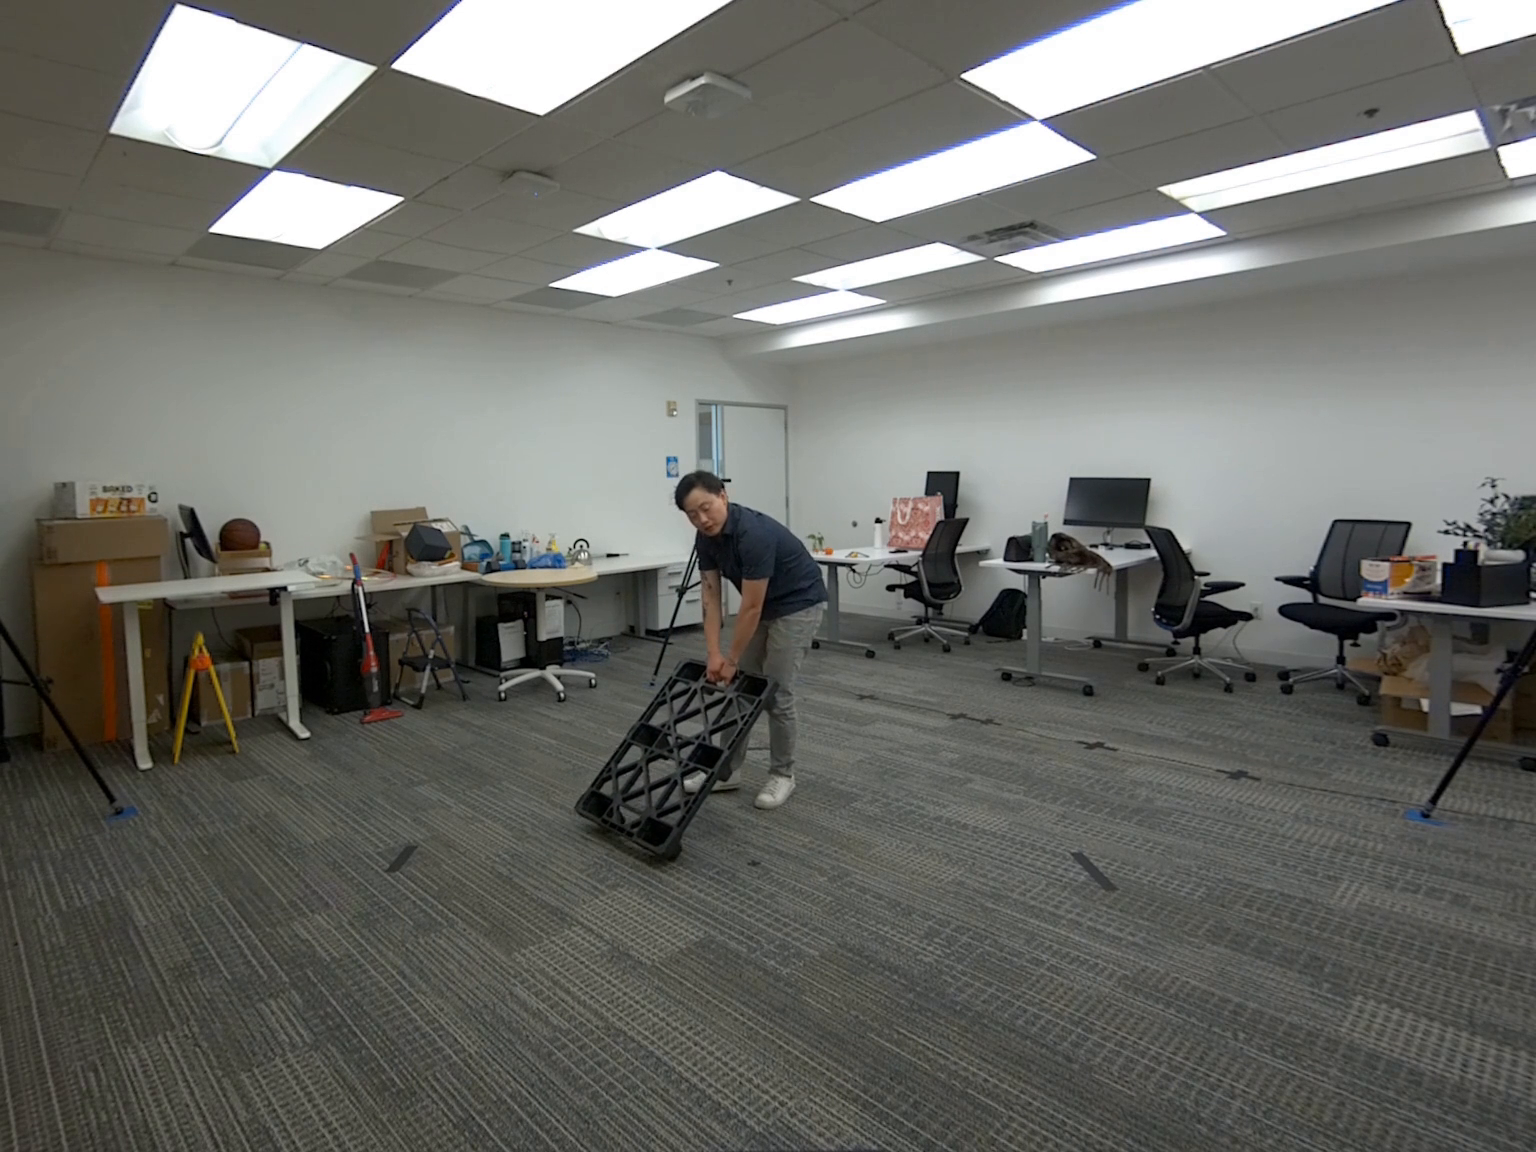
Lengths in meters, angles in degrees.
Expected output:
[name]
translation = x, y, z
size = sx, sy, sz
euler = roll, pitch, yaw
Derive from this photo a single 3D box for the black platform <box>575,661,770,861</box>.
[black platform]
translation = -0.343, 0.713, 3.448
size = 0.624, 0.138, 0.808
euler = 5, 51, 46
